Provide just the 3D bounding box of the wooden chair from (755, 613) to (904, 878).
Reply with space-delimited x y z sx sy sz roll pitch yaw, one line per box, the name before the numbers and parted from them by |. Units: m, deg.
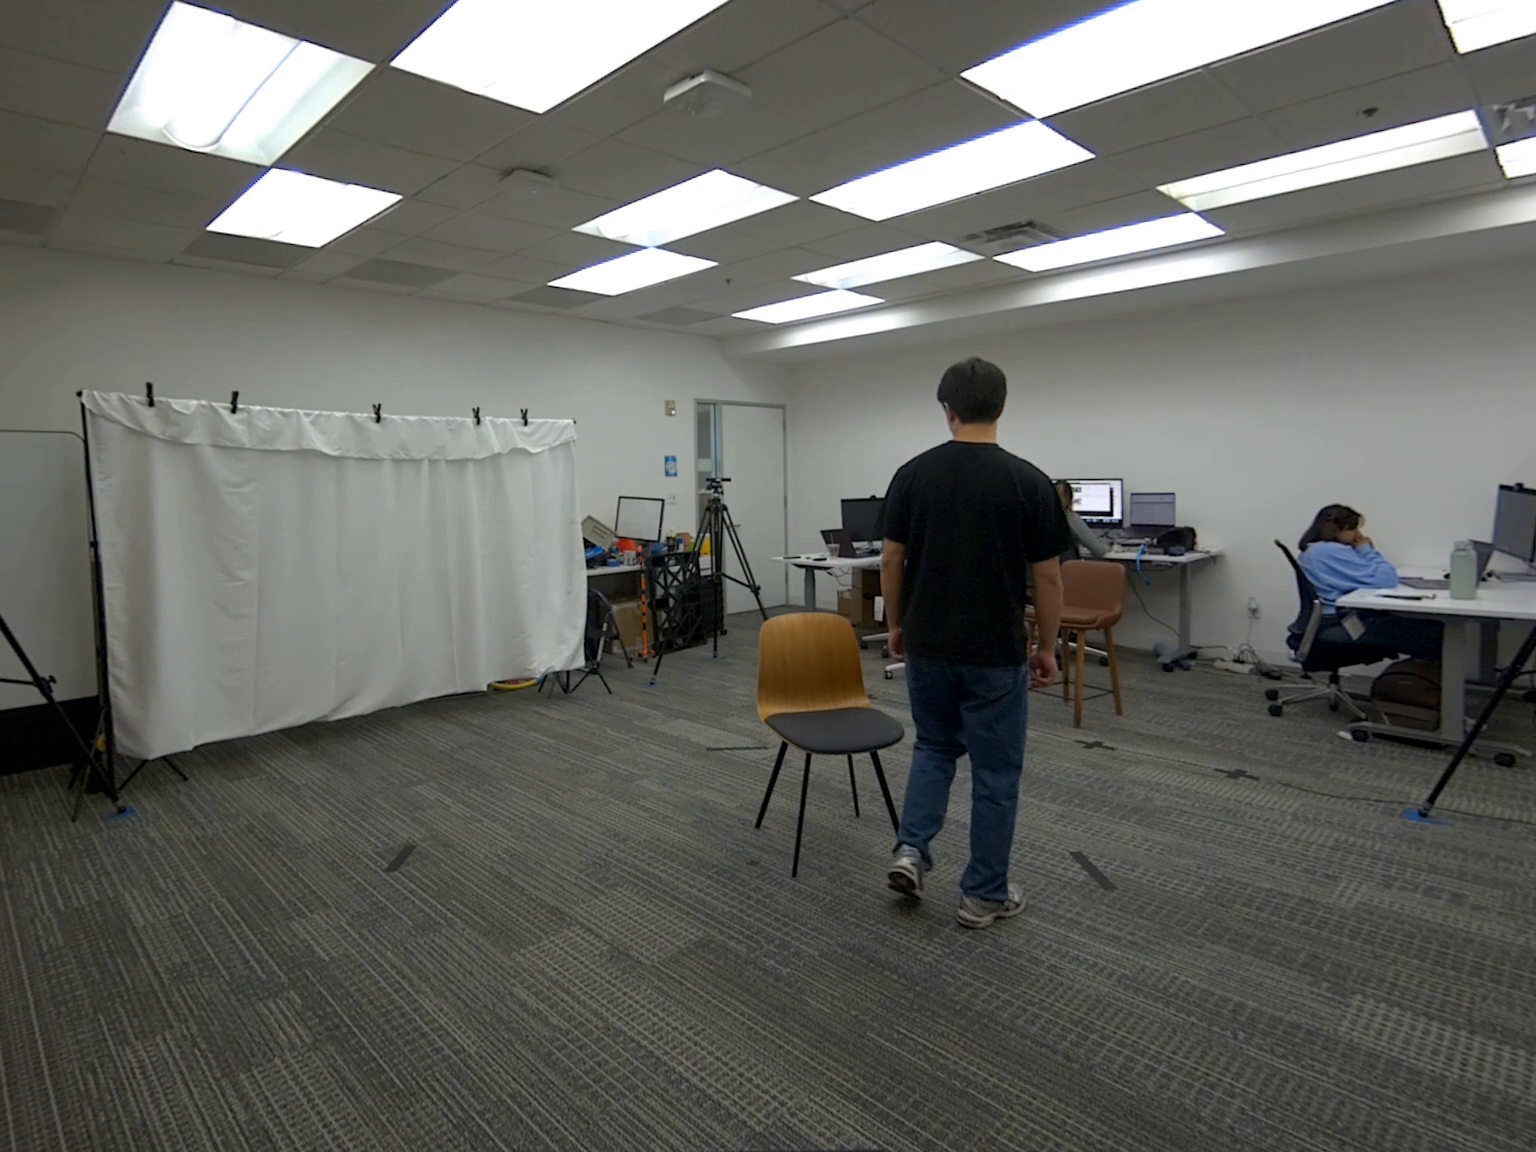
wooden chair | 0.227 0.598 3.220 0.471 0.877 0.531 -2 0 -17
